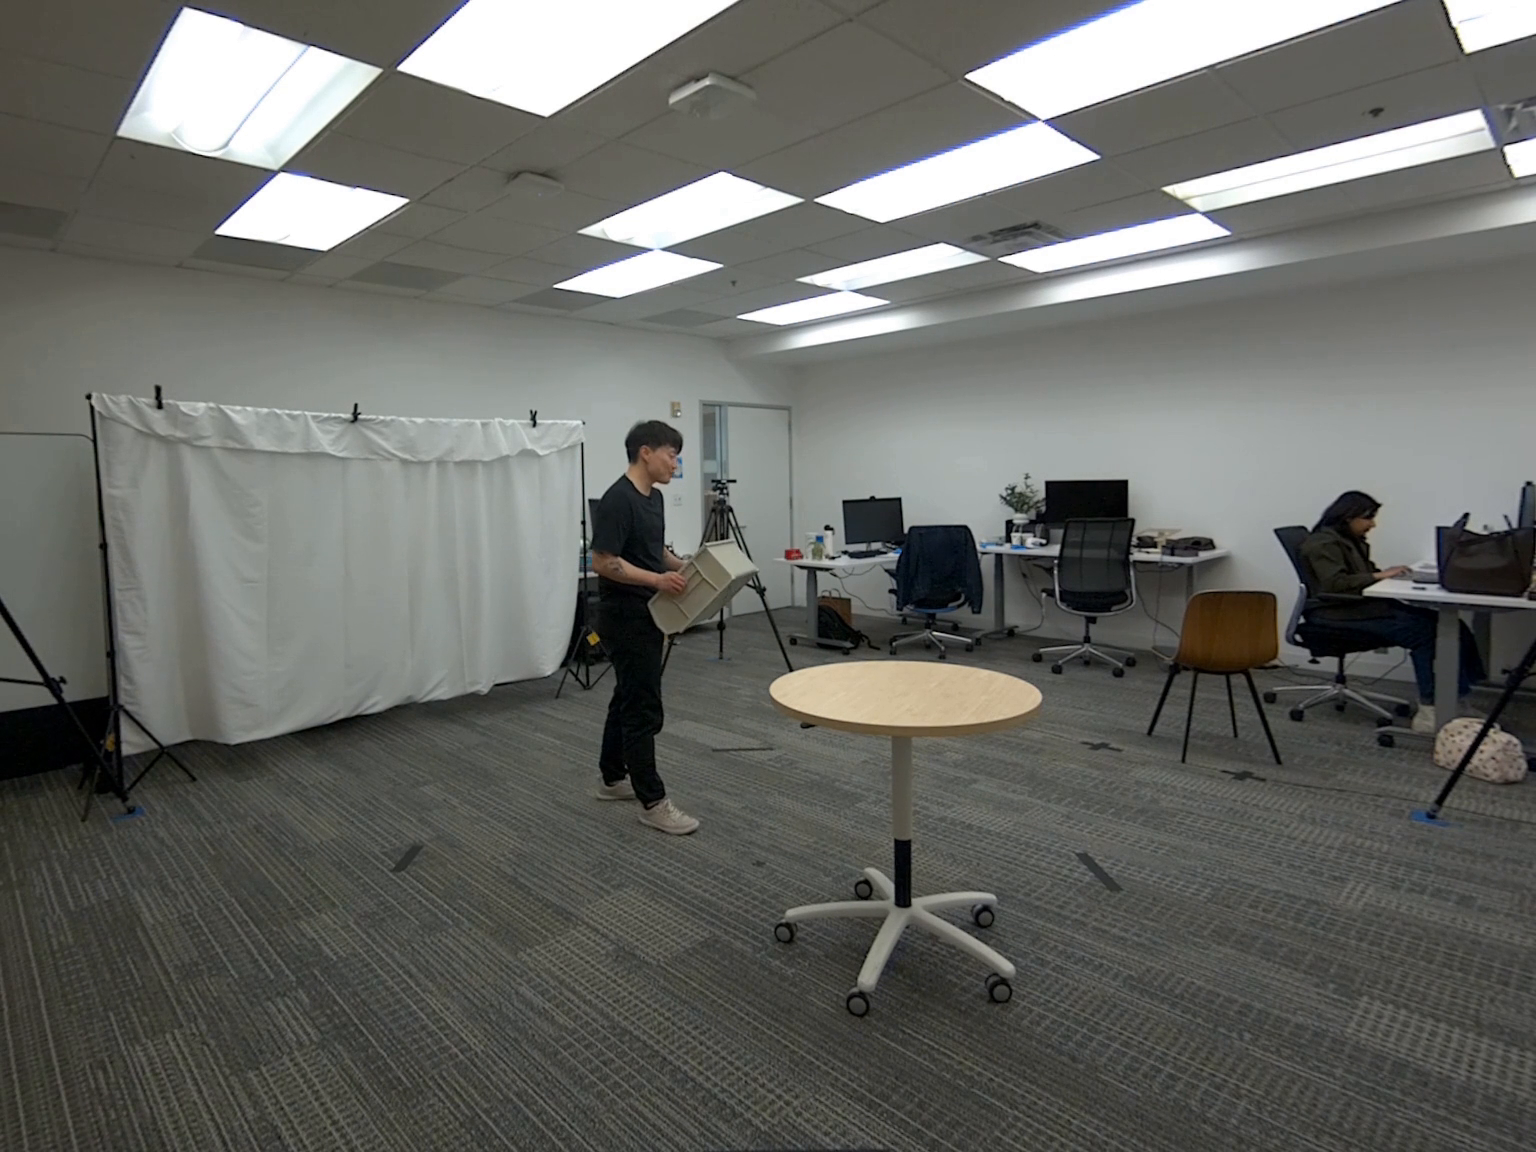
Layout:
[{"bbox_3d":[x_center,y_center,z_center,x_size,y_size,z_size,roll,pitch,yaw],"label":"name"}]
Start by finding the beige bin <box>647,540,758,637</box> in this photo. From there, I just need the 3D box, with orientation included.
[{"bbox_3d":[-0.266,0.047,3.538,0.377,0.191,0.417,-44,-8,13],"label":"beige bin"}]
